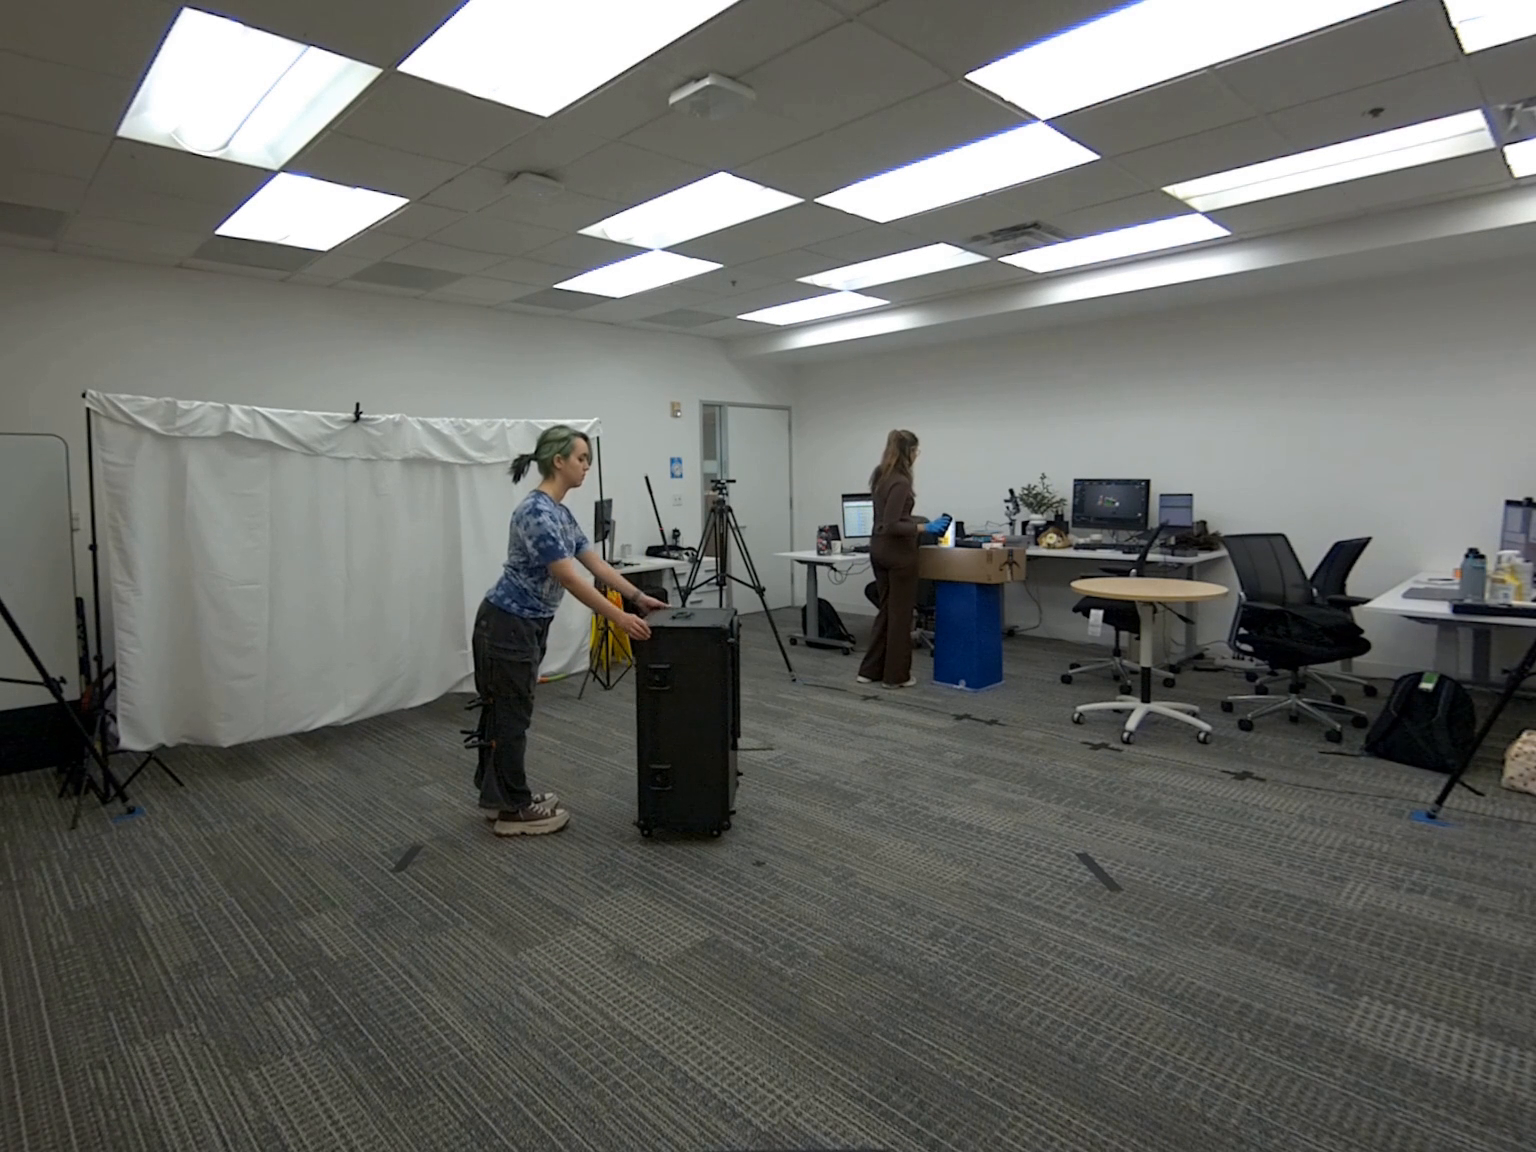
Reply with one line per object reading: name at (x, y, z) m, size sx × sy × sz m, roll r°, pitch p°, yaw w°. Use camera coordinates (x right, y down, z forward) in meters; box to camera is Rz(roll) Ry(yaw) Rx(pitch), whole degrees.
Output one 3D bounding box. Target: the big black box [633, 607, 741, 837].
big black box at (-0.309, 0.584, 3.473) m, size 0.398 × 0.859 × 0.521 m, roll 1°, pitch 4°, yaw 3°
